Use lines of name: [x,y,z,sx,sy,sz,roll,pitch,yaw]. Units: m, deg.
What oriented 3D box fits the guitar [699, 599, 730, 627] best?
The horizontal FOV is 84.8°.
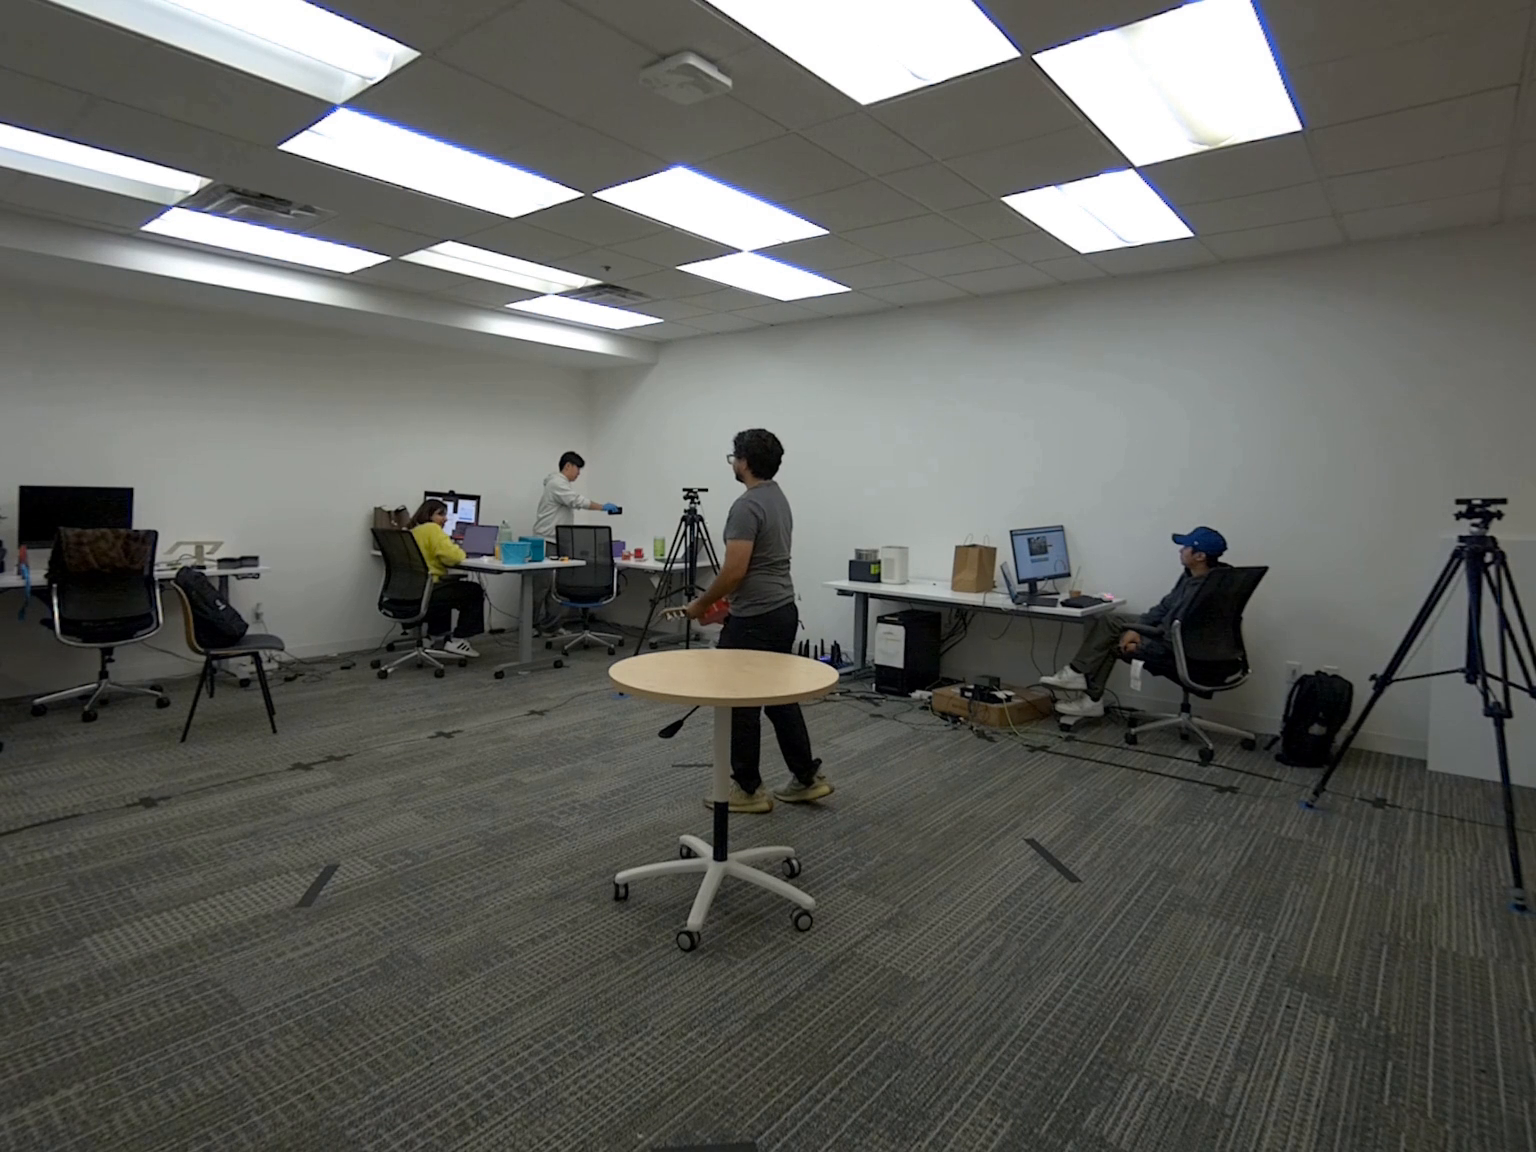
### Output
guitar: [-0.309,0.174,3.816,0.485,0.073,0.192,-12,-26,-39]
